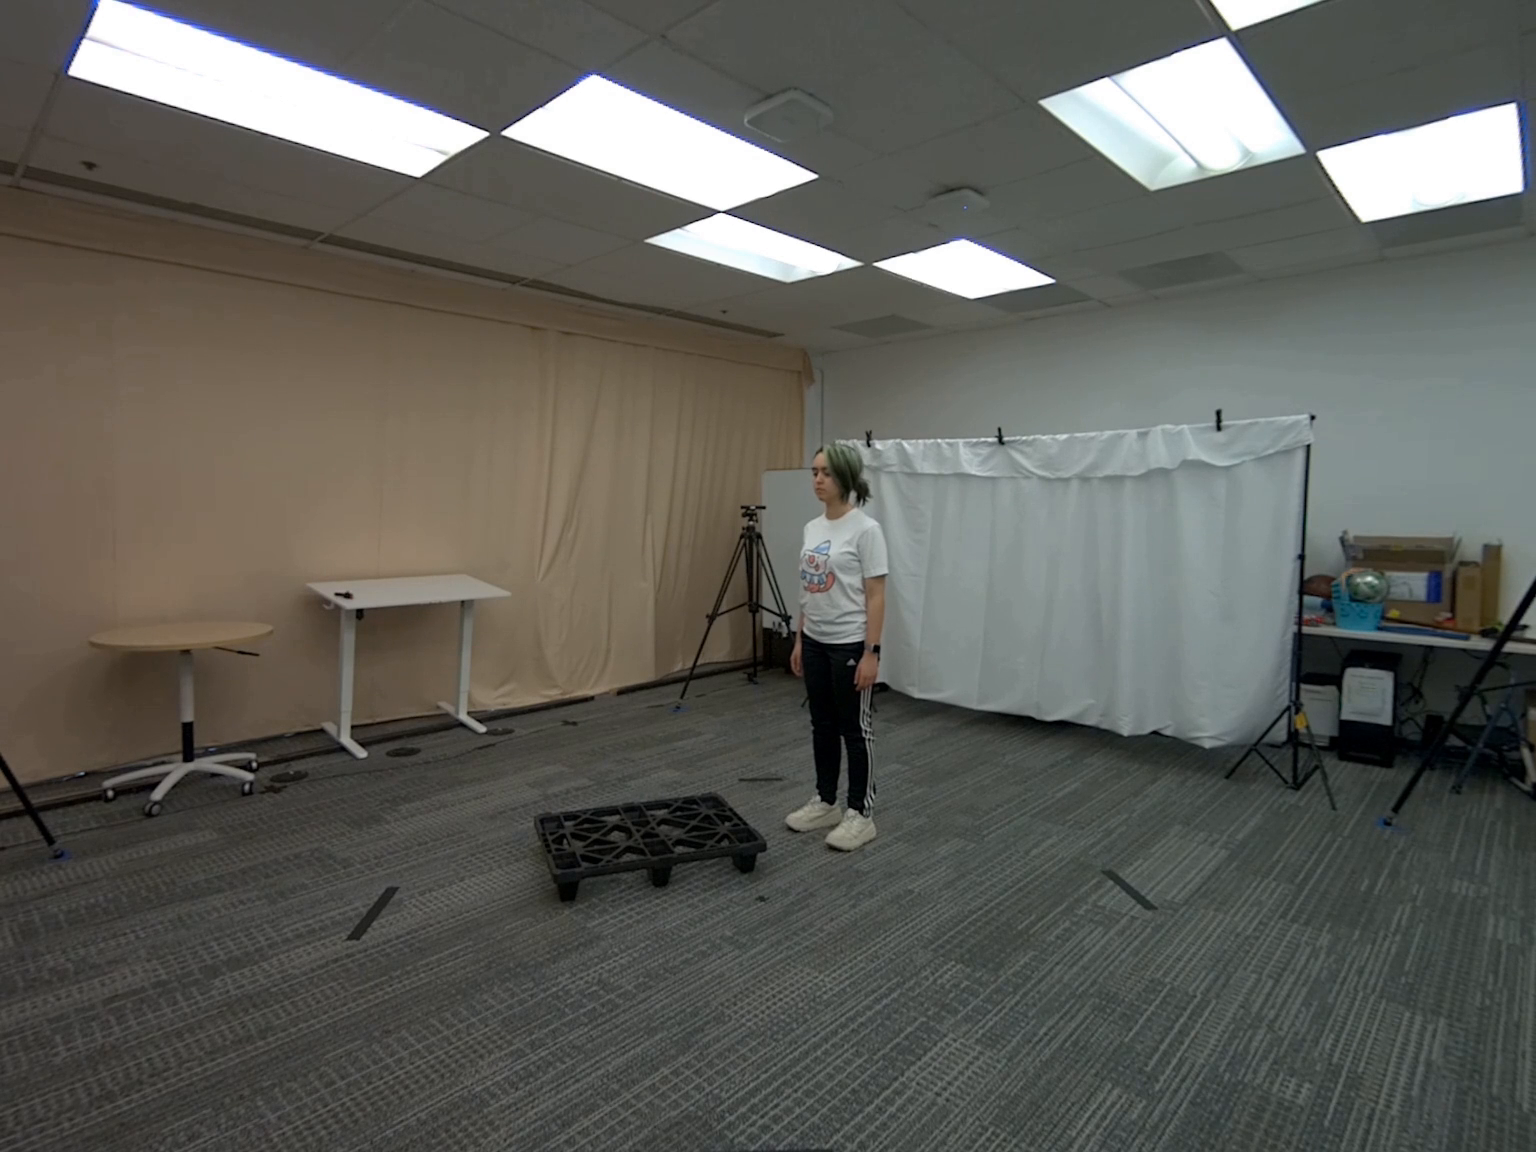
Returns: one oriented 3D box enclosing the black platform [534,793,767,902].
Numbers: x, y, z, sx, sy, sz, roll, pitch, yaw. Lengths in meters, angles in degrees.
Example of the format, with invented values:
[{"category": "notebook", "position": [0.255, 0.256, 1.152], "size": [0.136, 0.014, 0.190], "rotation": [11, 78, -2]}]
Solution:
[{"category": "black platform", "position": [-0.480, 1.053, 3.302], "size": [0.790, 0.143, 0.618], "rotation": [-2, 4, -20]}]
